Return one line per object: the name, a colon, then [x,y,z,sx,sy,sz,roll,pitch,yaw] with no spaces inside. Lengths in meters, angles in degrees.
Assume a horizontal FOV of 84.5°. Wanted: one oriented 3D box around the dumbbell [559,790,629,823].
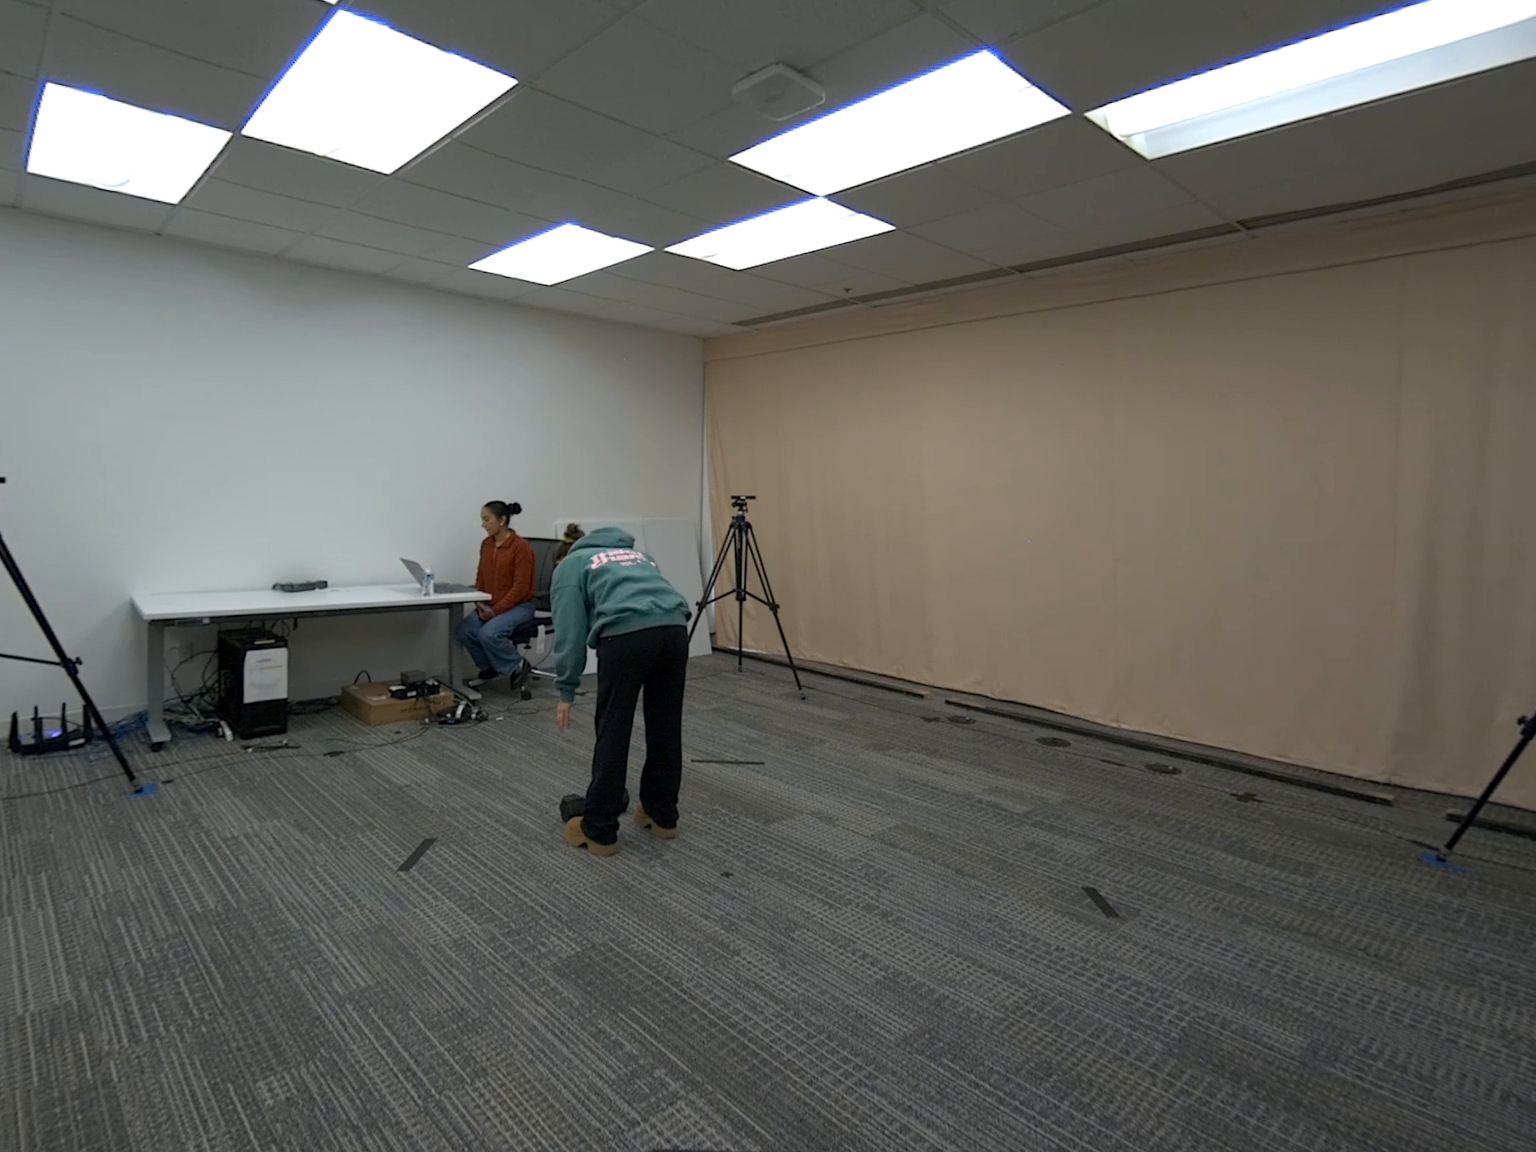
dumbbell: [-0.753,0.987,3.640,0.287,0.125,0.109,-3,-26,-39]
